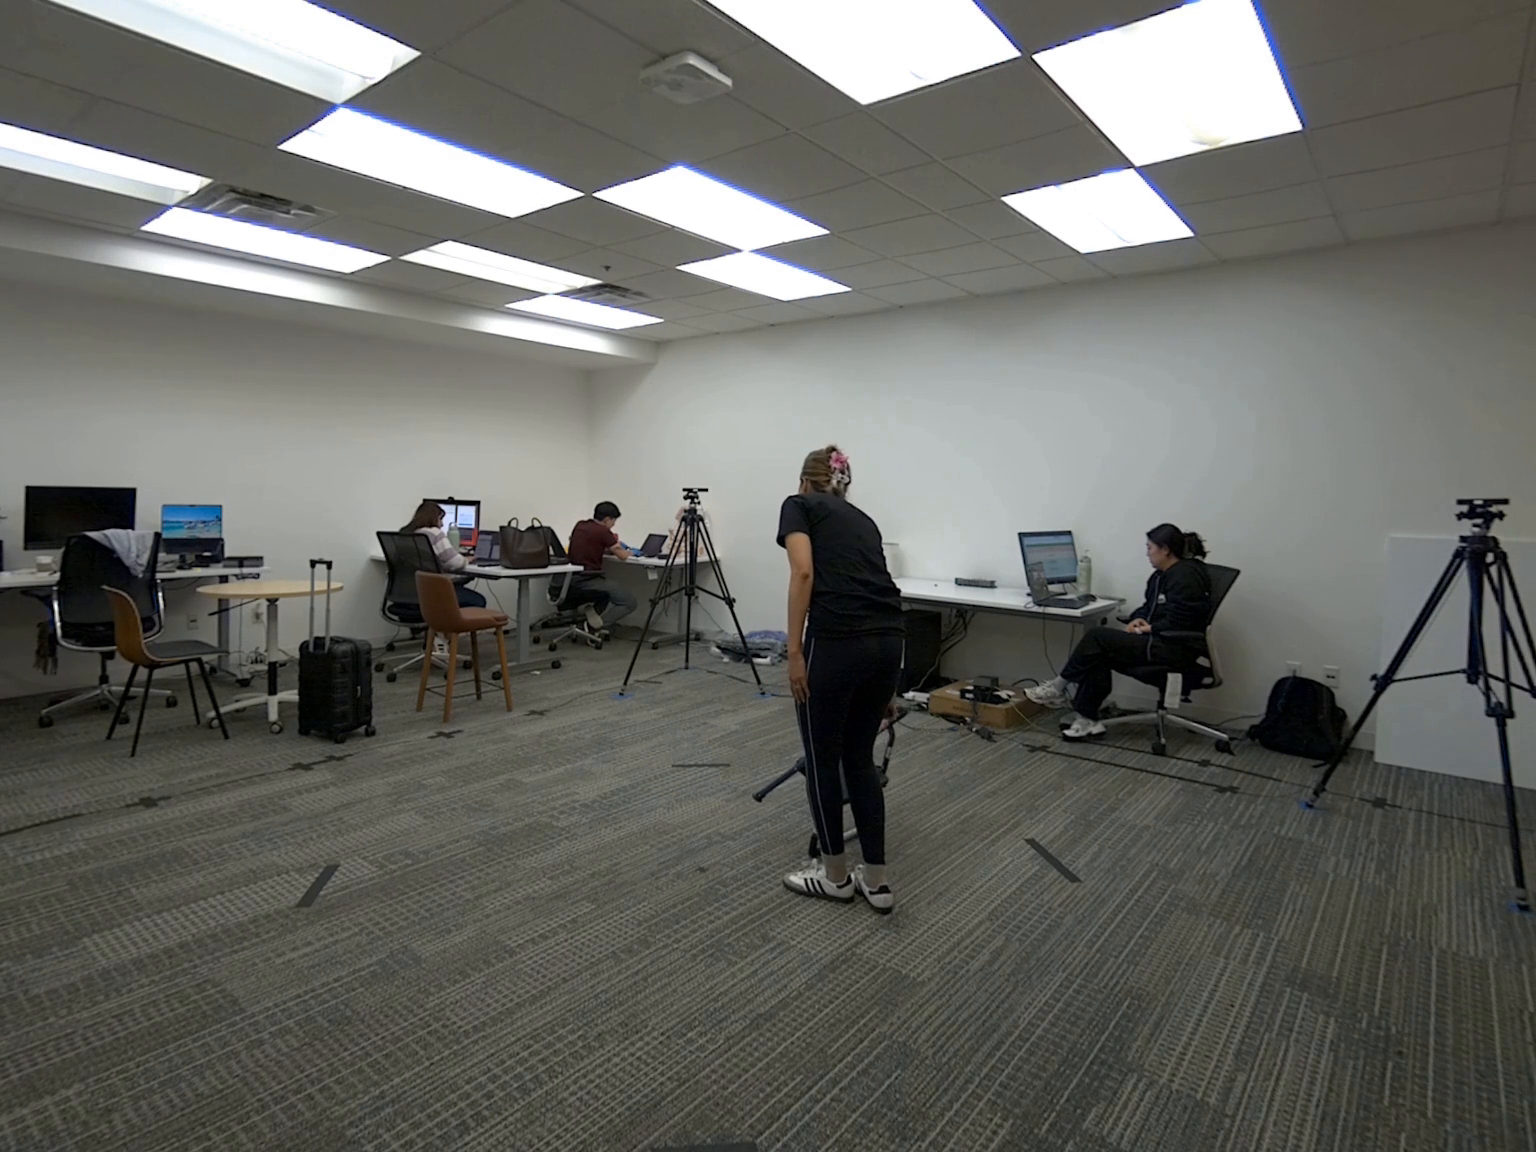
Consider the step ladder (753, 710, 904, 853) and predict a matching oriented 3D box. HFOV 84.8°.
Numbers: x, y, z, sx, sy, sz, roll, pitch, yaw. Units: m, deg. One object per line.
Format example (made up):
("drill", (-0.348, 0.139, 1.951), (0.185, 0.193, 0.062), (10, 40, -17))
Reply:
("step ladder", (0.289, 0.711, 3.359), (0.418, 0.600, 0.363), (-5, 36, -49))
